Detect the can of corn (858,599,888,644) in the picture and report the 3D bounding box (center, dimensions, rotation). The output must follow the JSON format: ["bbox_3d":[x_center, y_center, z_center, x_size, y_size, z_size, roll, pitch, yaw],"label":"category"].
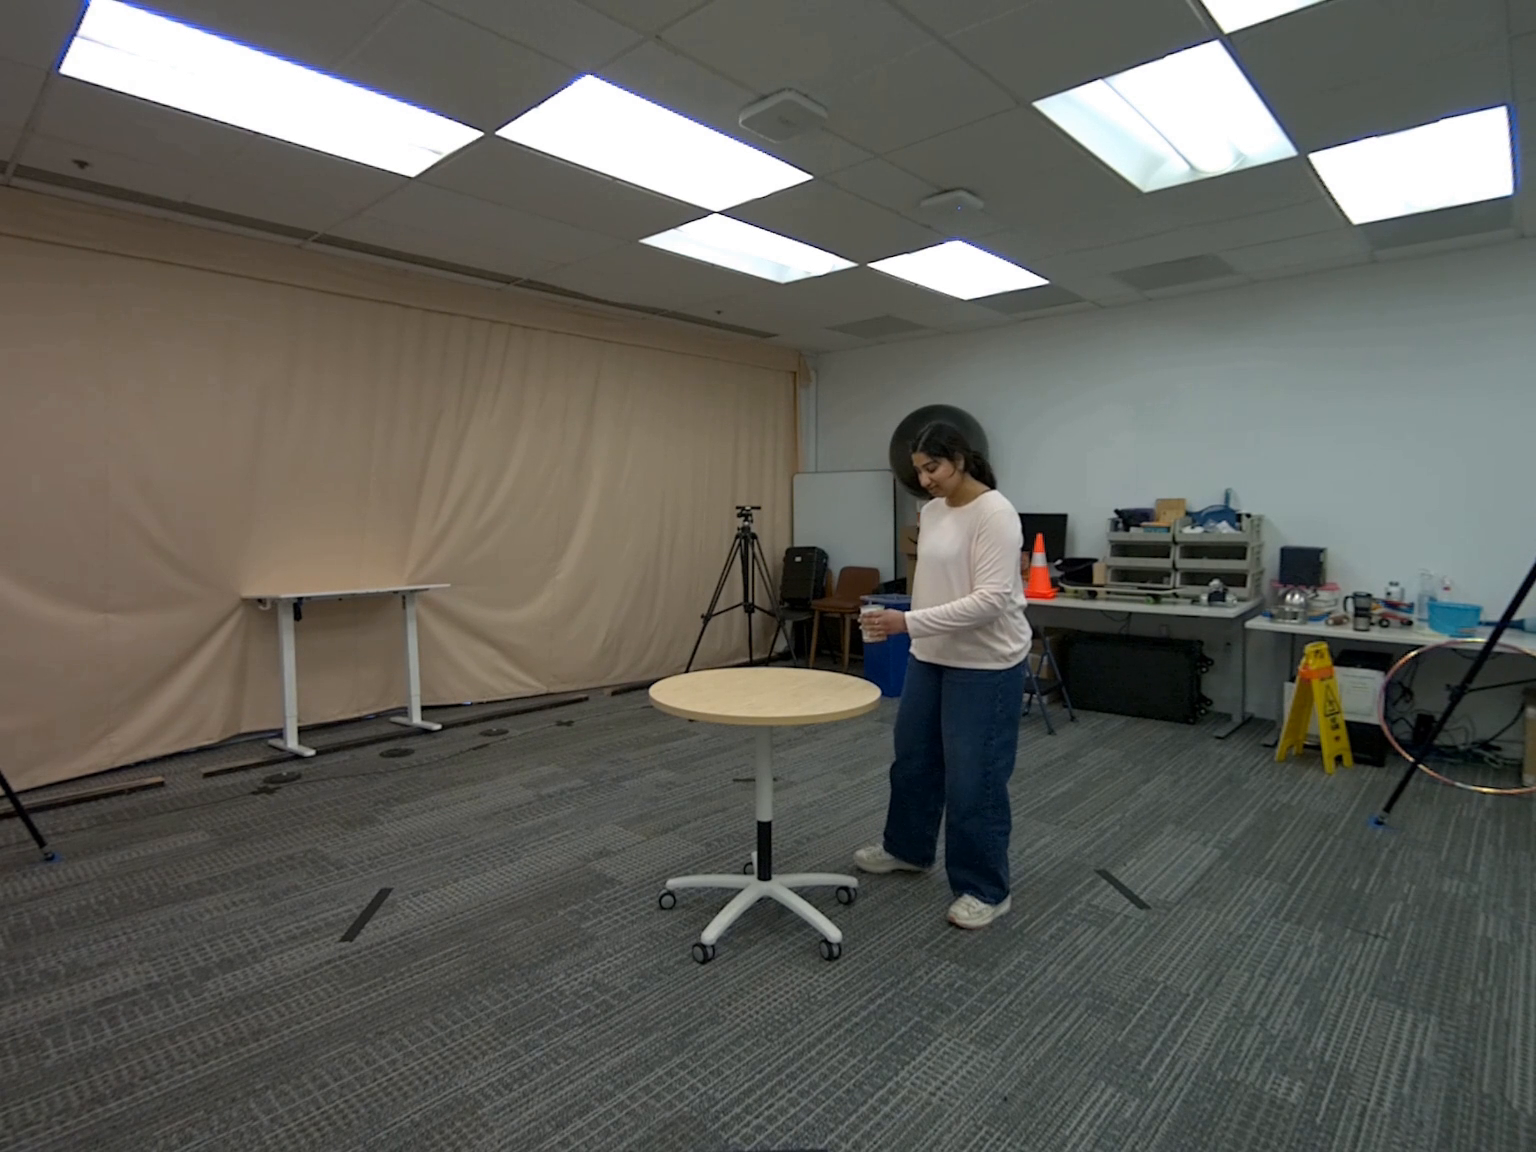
[{"bbox_3d":[0.352,0.155,2.737,0.074,0.111,0.074,-5,1,-2],"label":"can of corn"}]
